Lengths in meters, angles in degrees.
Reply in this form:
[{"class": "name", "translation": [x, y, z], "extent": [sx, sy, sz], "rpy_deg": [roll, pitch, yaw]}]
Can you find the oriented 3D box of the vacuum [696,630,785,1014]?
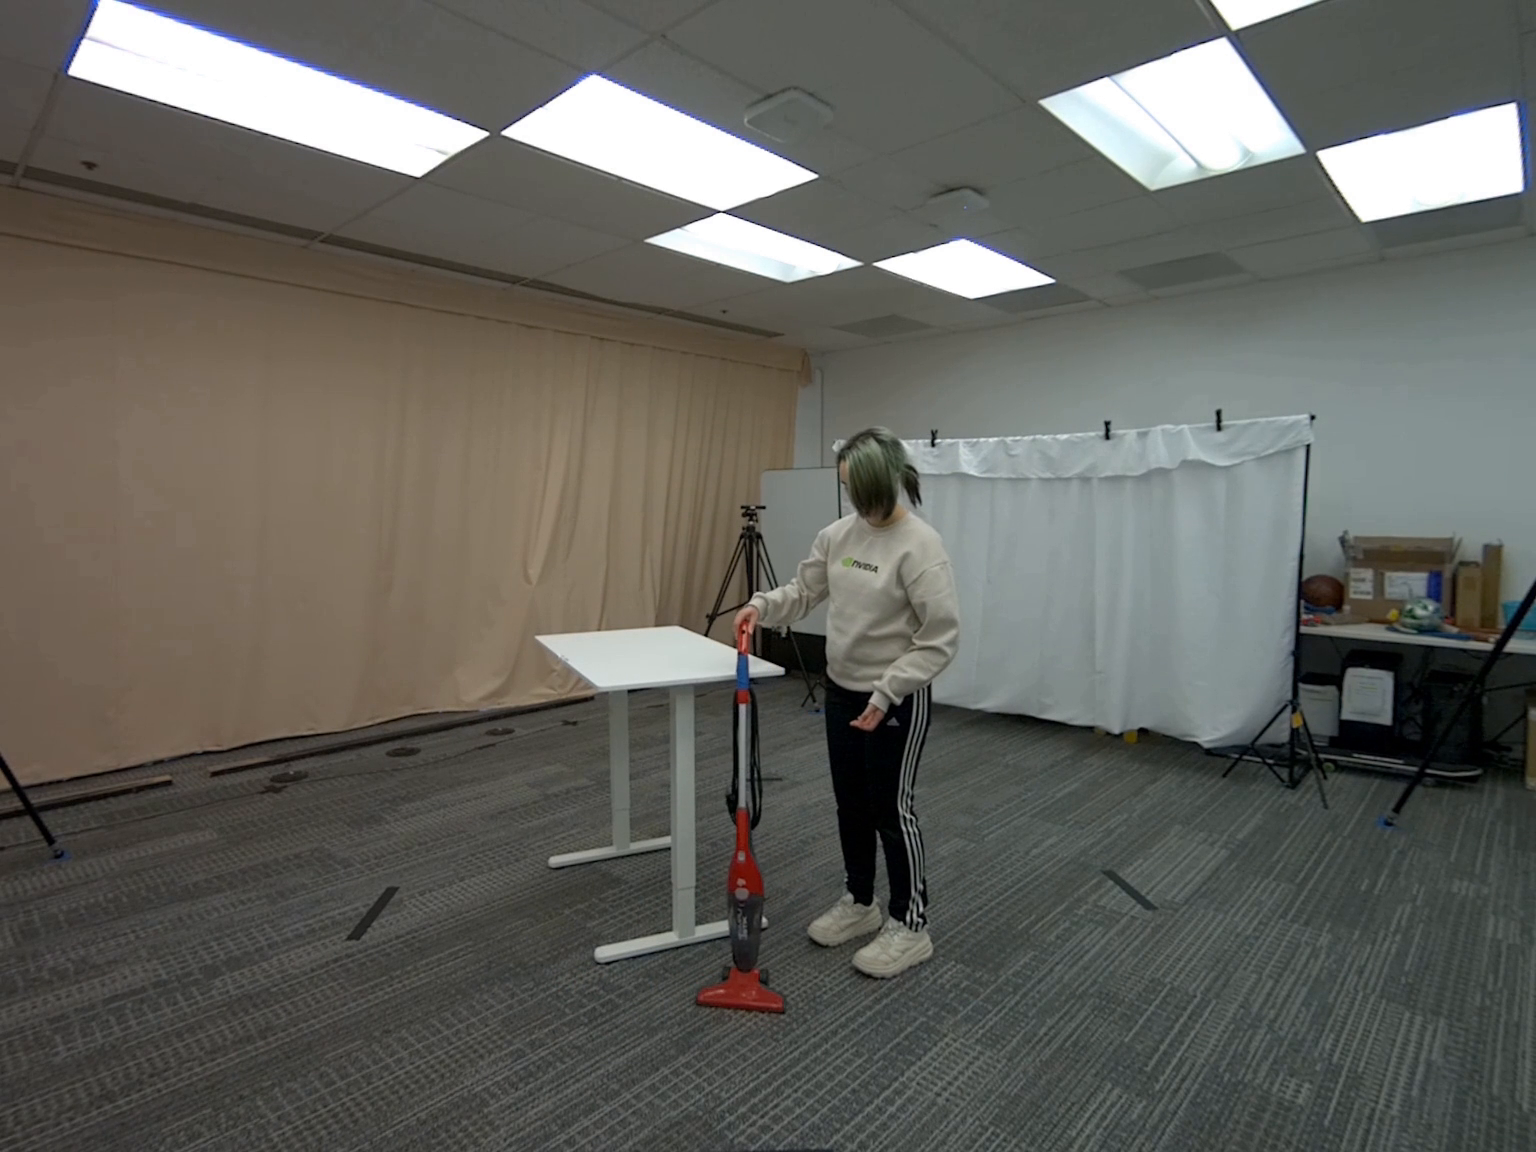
[{"class": "vacuum", "translation": [-0.060, 0.682, 2.487], "extent": [0.256, 1.056, 0.141], "rpy_deg": [0, -11, 11]}]
